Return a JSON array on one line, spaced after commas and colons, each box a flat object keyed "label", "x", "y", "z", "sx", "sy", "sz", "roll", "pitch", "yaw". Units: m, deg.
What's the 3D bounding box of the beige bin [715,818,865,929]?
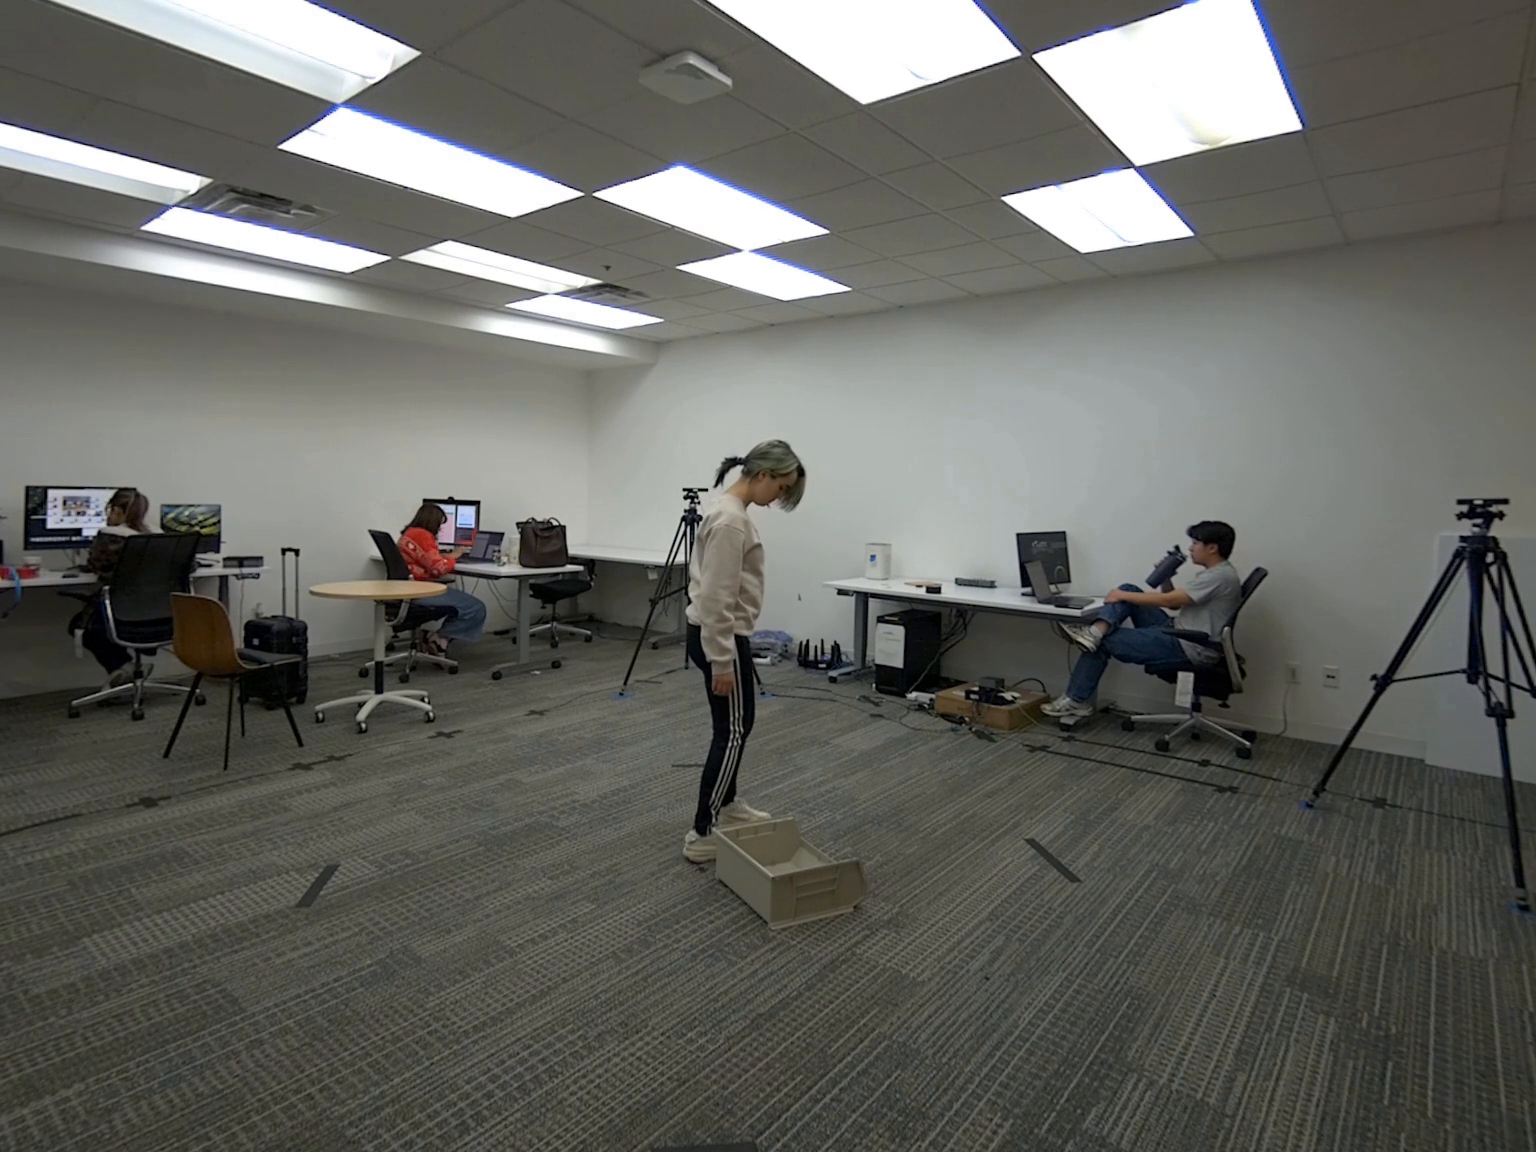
[{"label": "beige bin", "x": 0.061, "y": 1.002, "z": 2.939, "sx": 0.368, "sy": 0.188, "sz": 0.435, "roll": -3, "pitch": 7, "yaw": -29}]
